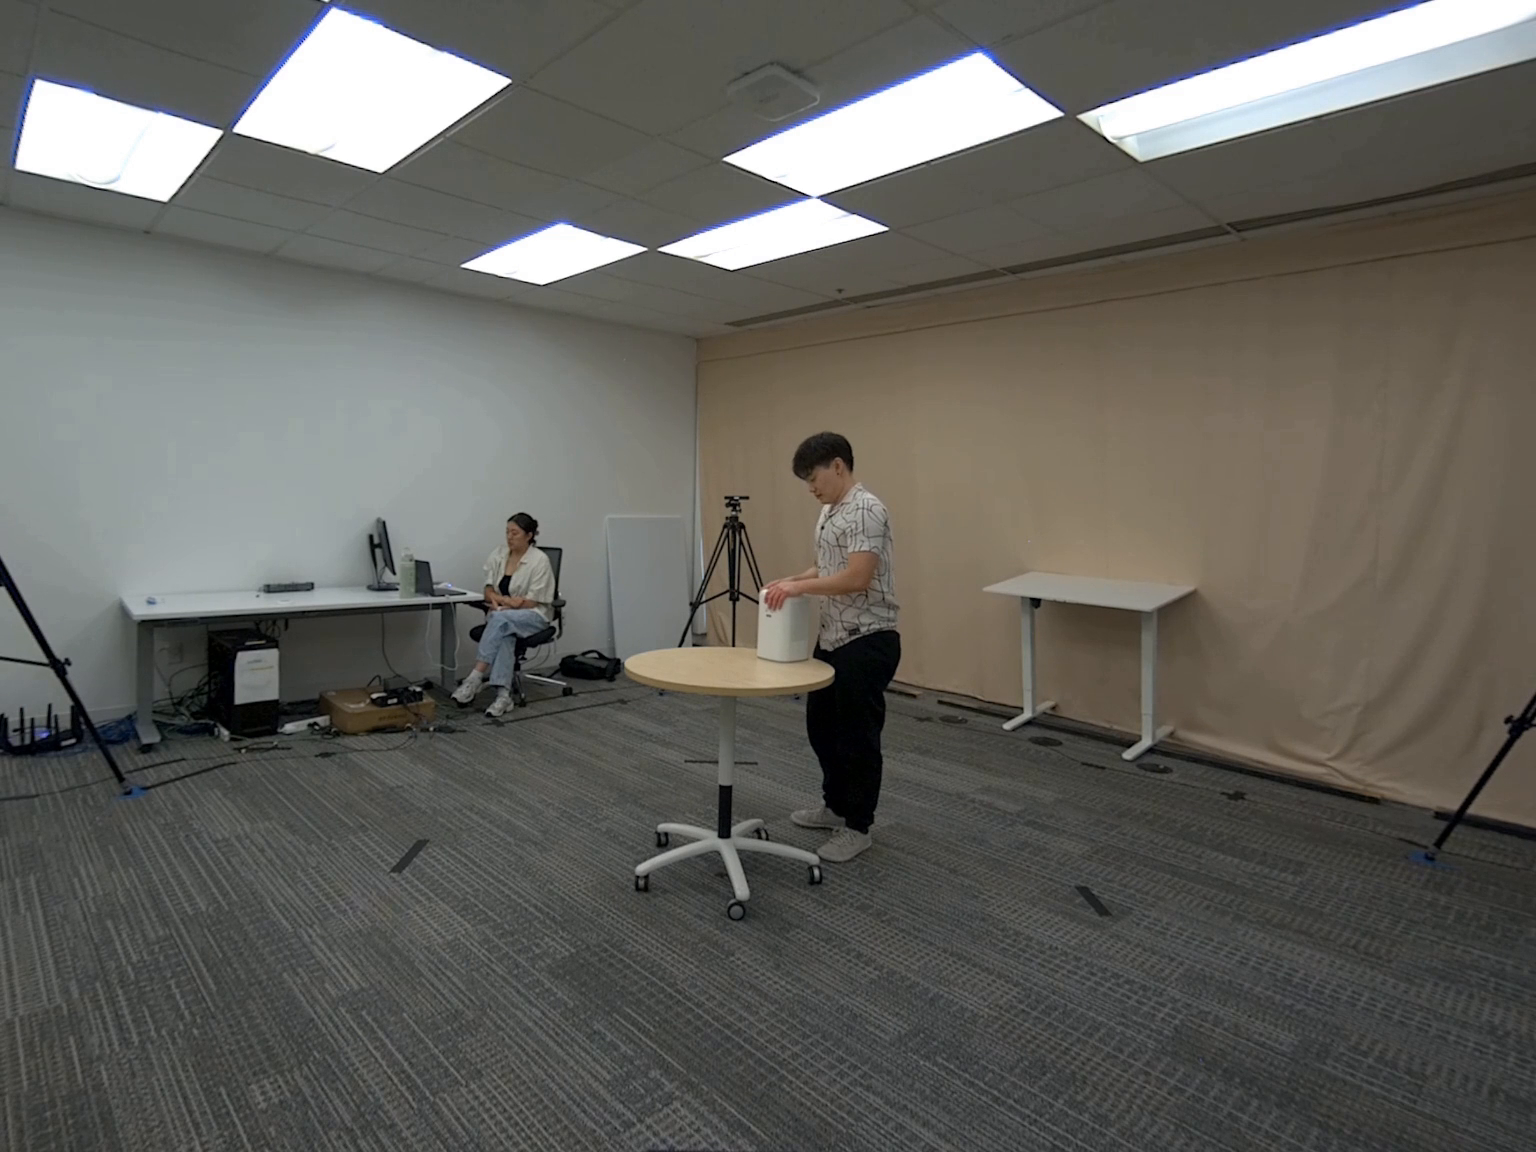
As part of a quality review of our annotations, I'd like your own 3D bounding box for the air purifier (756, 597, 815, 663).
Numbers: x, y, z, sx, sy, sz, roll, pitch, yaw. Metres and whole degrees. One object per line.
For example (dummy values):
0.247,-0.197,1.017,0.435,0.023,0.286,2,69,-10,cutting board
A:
0.057,0.186,3.251,0.167,0.265,0.175,3,3,-43,air purifier
